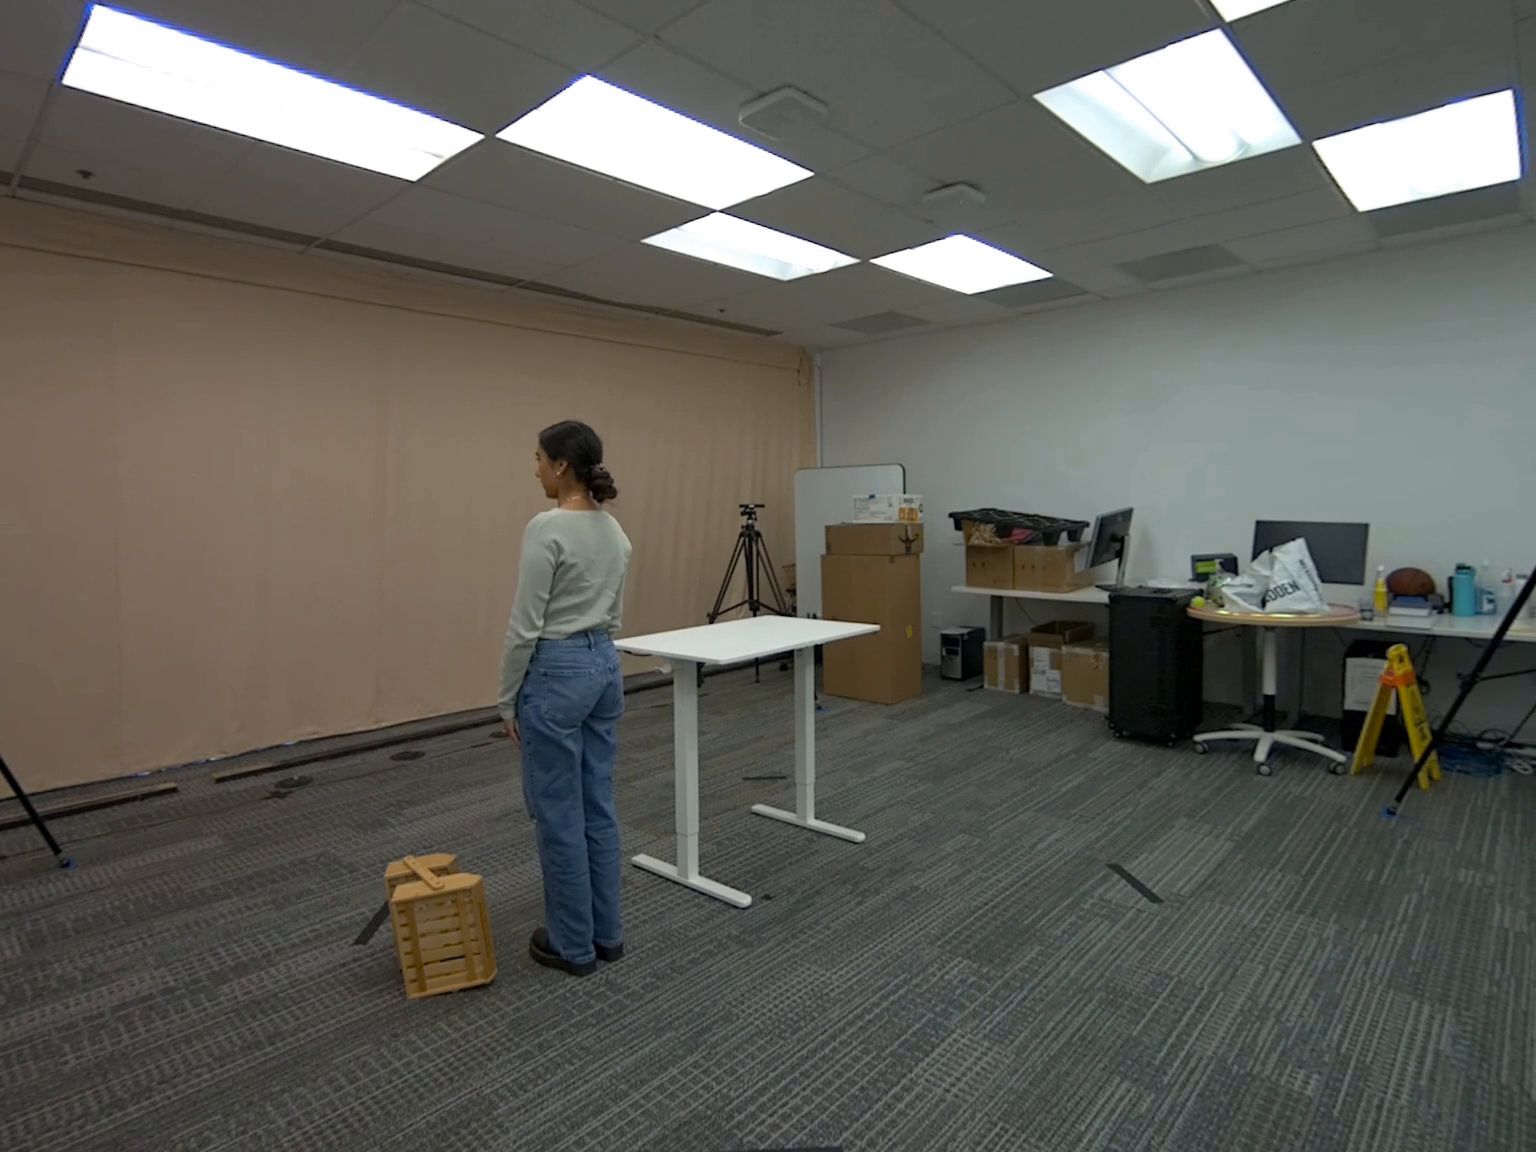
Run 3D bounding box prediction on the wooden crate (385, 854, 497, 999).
[{"bbox_3d":[-0.992,1.041,2.526,0.298,0.322,0.279,-8,8,-15],"label":"wooden crate"}]
